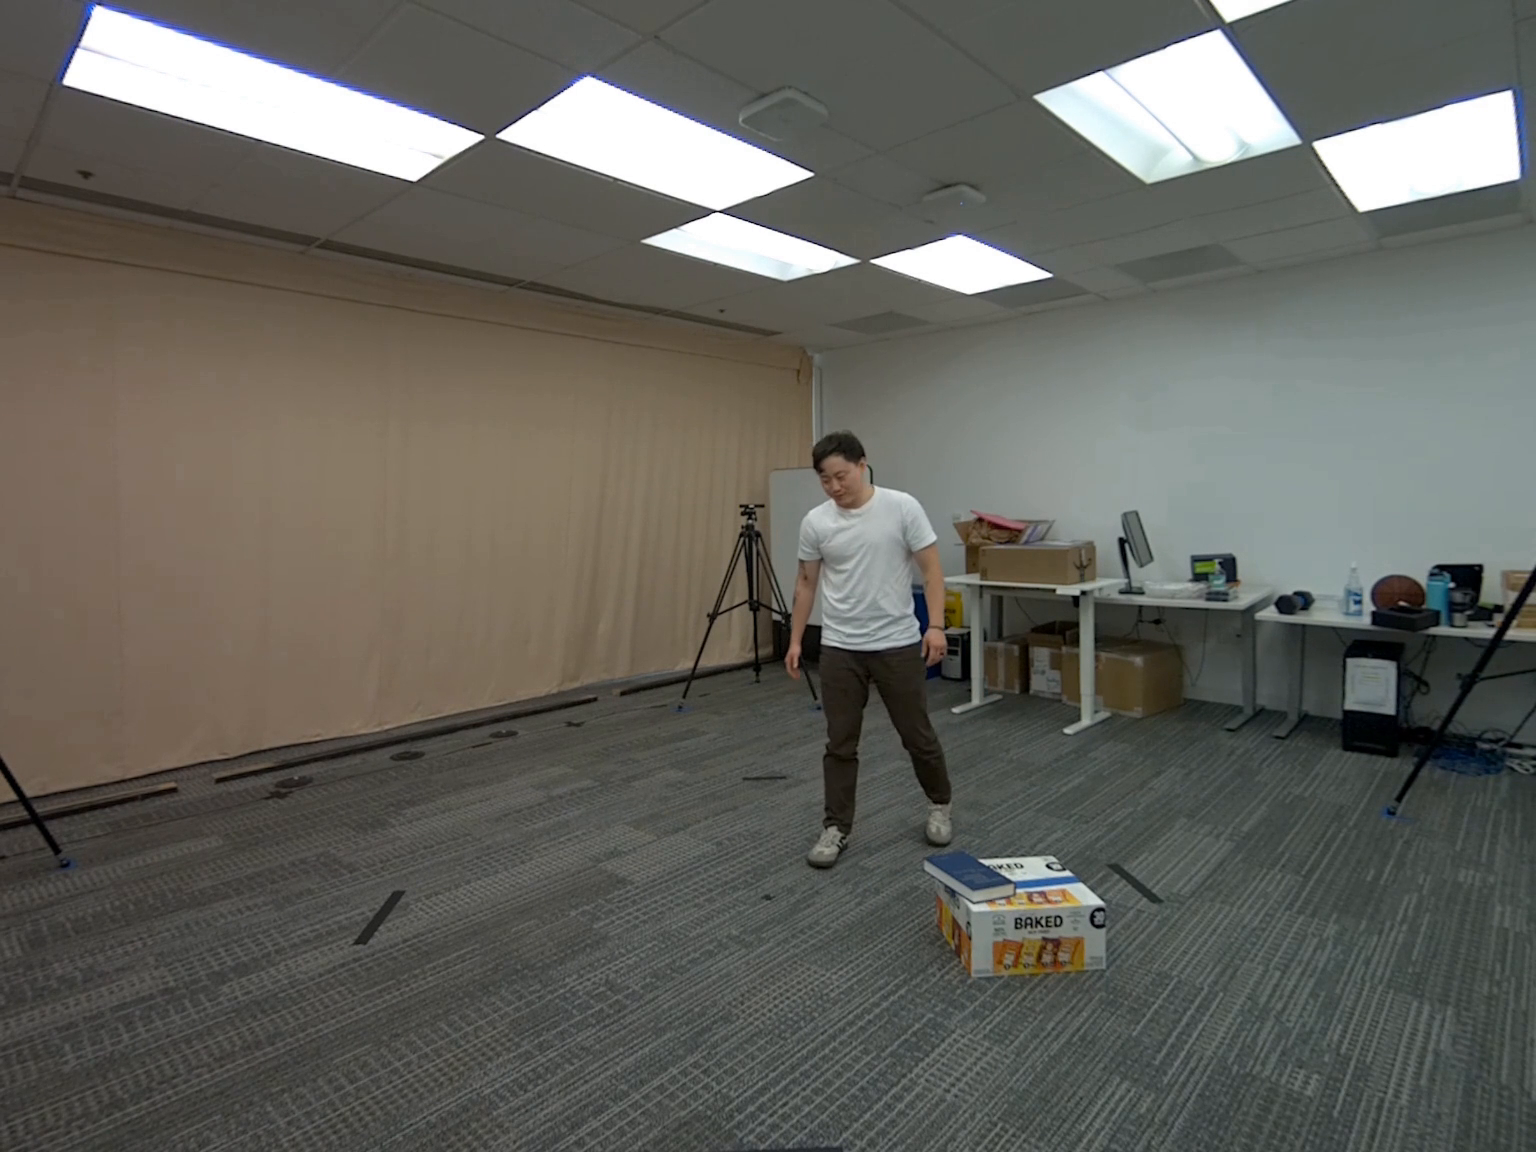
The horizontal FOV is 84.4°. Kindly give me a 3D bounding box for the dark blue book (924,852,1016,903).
[{"bbox_3d":[0.632,0.937,2.618,0.159,0.045,0.251,-1,5,-25],"label":"dark blue book"}]
